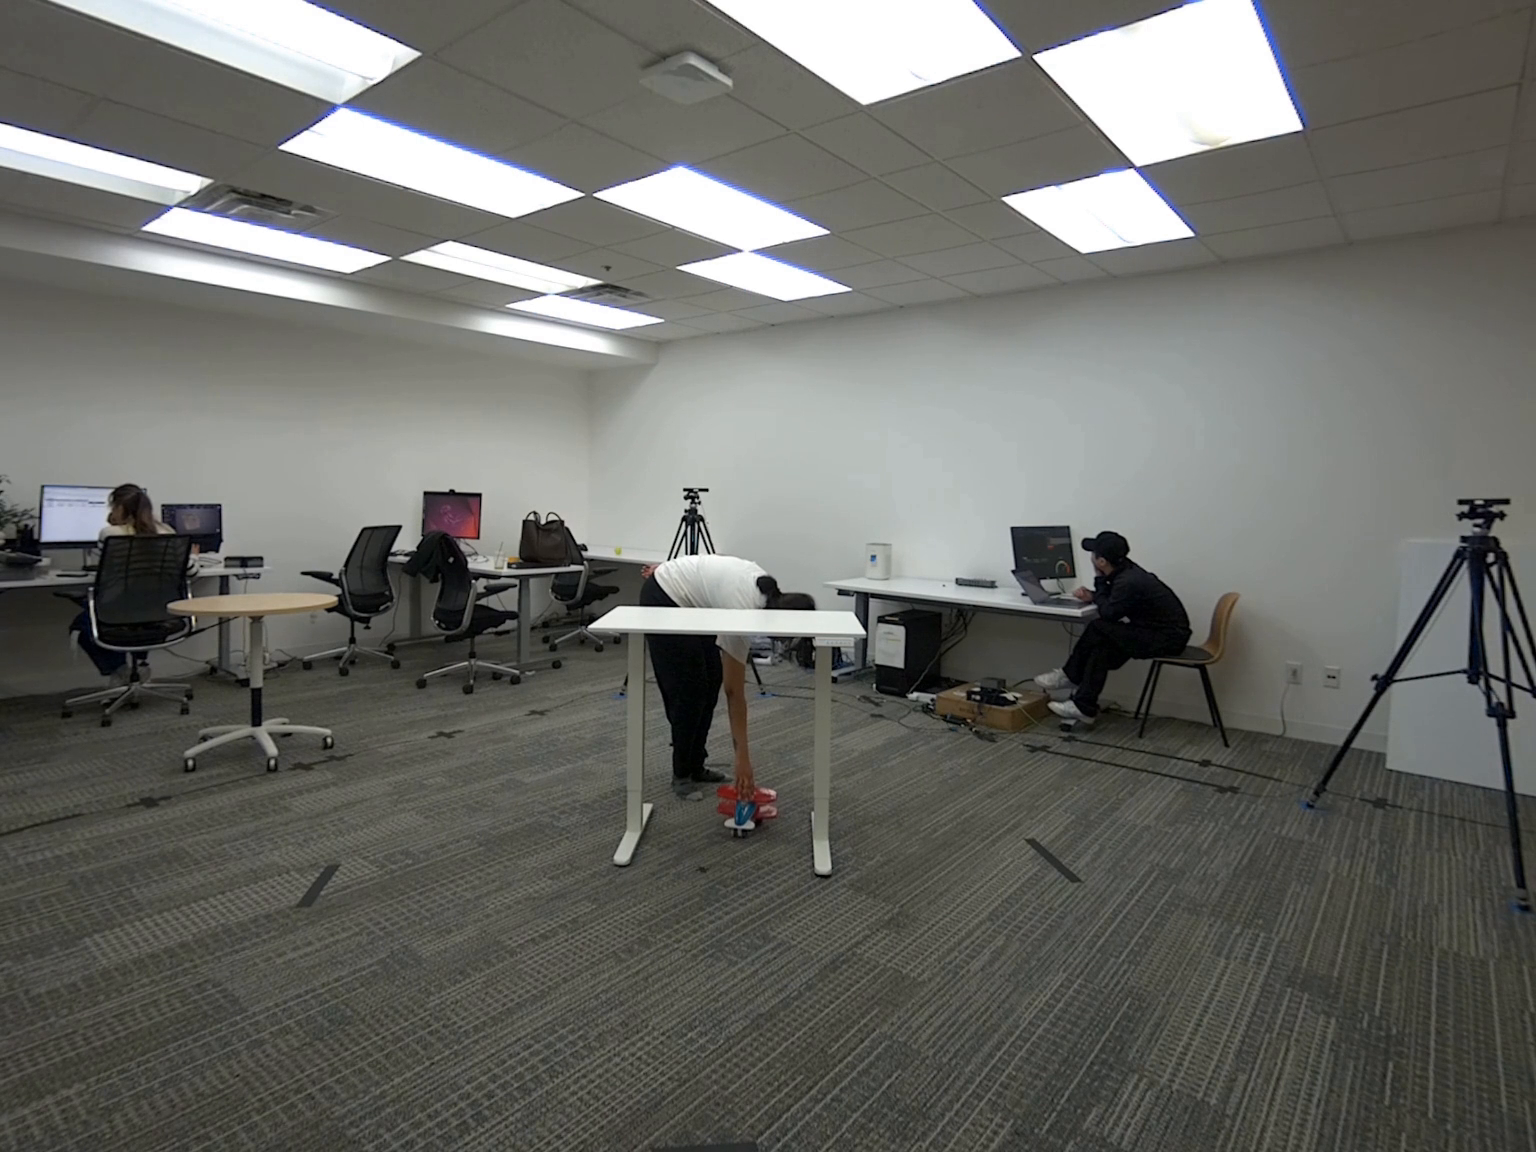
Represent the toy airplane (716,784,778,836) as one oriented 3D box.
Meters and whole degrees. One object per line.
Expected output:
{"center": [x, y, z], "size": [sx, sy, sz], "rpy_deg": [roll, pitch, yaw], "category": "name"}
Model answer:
{"center": [-0.085, 0.961, 3.495], "size": [0.247, 0.156, 0.264], "rpy_deg": [-1, 4, -17], "category": "toy airplane"}
